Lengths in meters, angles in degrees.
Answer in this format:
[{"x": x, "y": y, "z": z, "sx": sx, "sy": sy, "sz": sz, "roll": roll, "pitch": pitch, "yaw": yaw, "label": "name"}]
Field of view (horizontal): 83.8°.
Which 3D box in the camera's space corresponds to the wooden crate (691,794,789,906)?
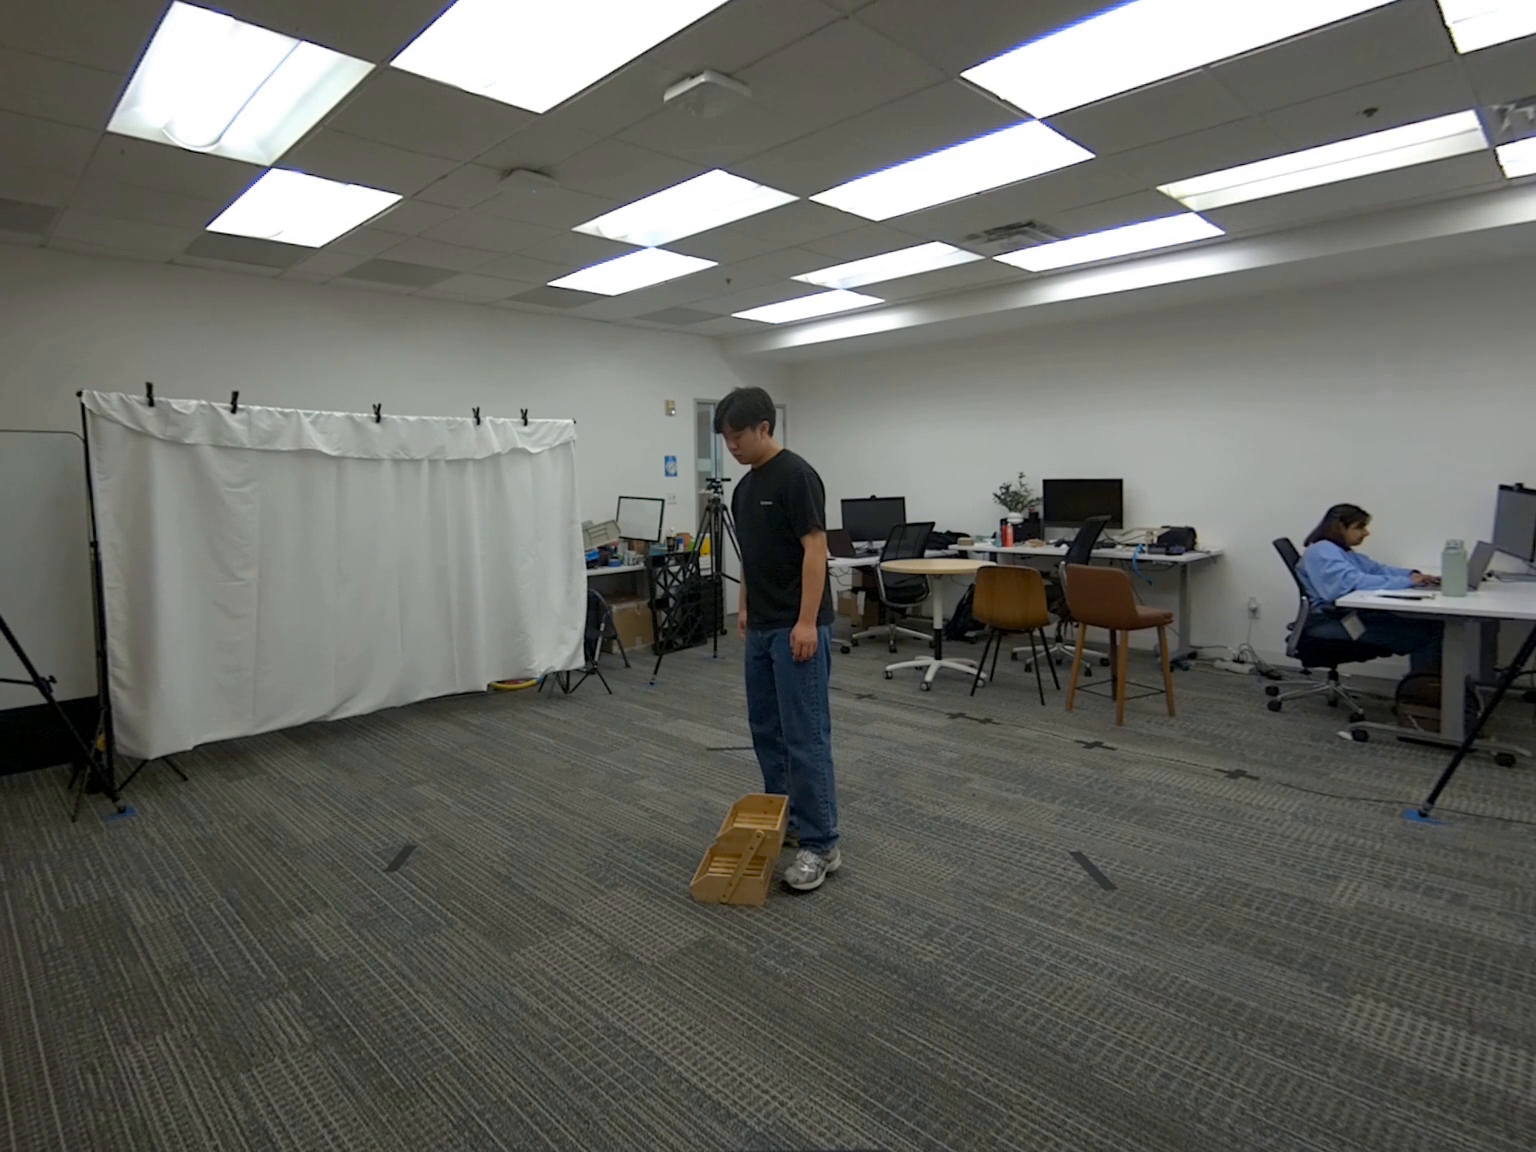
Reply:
[{"x": -0.095, "y": 0.931, "z": 2.939, "sx": 0.304, "sy": 0.272, "sz": 0.323, "roll": 0, "pitch": 5, "yaw": 8, "label": "wooden crate"}]
